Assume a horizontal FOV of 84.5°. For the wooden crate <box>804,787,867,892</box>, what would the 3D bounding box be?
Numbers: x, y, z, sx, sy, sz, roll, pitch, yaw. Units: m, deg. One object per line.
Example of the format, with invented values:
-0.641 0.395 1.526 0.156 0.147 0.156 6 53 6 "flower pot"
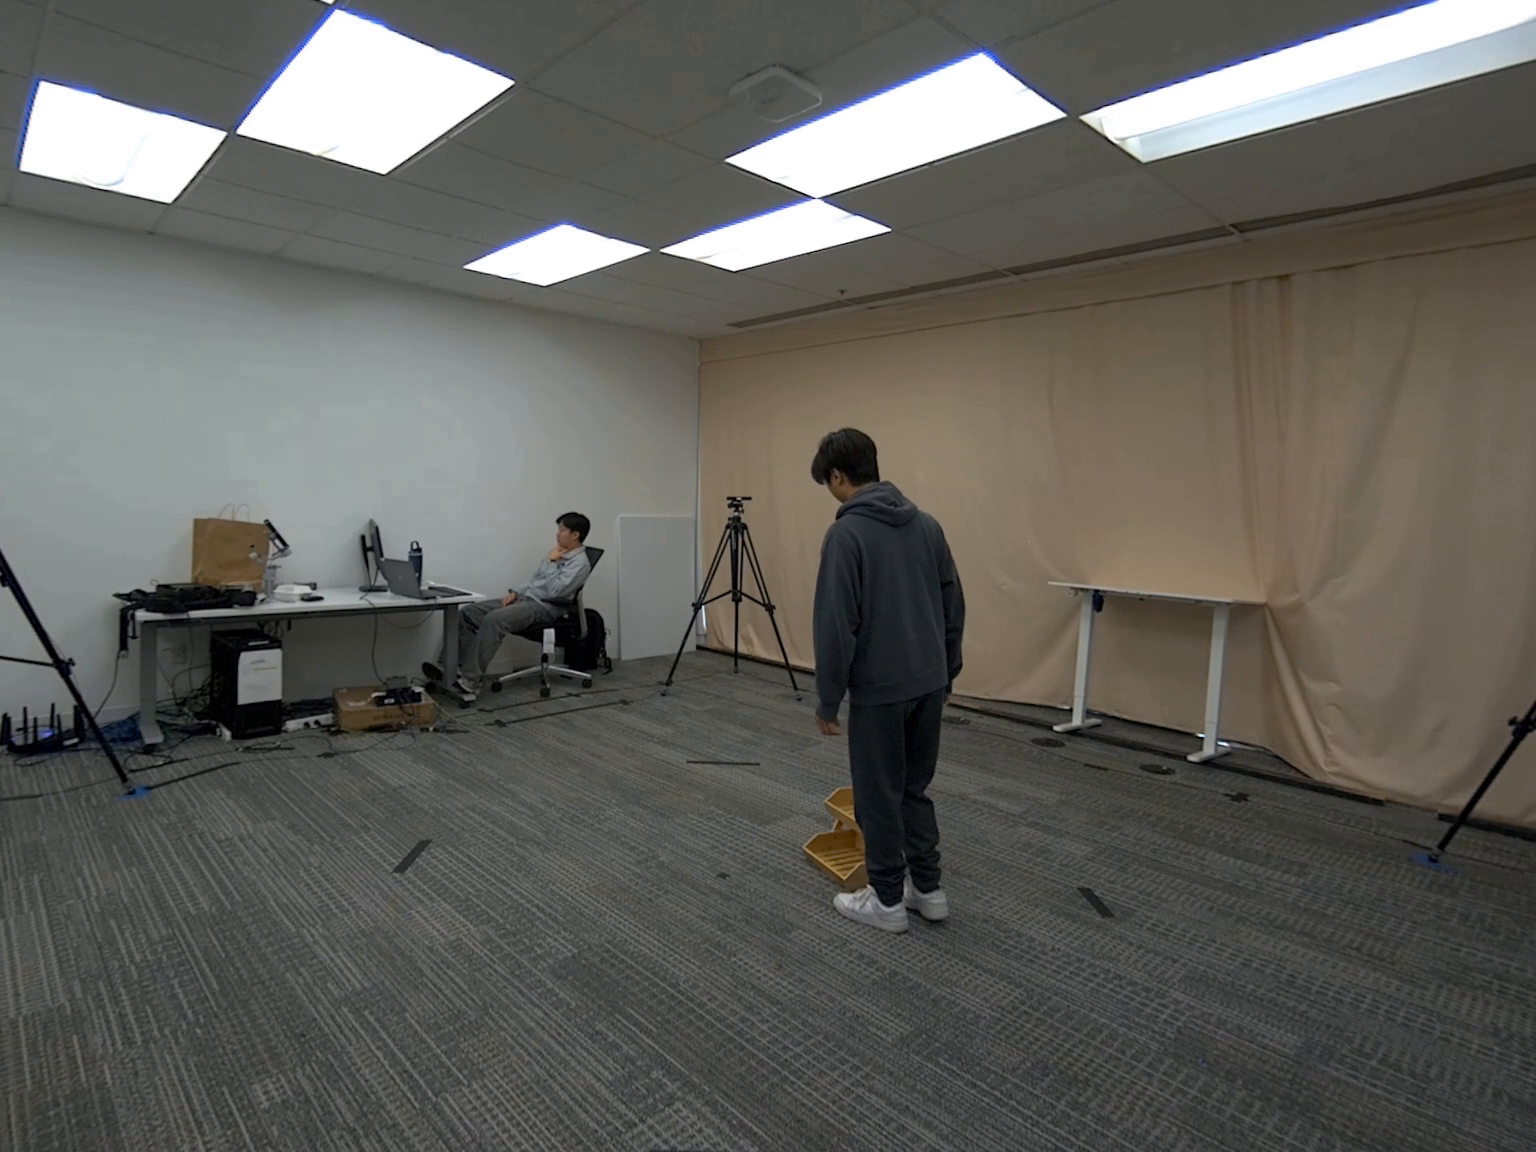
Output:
0.327 0.973 3.177 0.296 0.273 0.331 0 4 -27 "wooden crate"
